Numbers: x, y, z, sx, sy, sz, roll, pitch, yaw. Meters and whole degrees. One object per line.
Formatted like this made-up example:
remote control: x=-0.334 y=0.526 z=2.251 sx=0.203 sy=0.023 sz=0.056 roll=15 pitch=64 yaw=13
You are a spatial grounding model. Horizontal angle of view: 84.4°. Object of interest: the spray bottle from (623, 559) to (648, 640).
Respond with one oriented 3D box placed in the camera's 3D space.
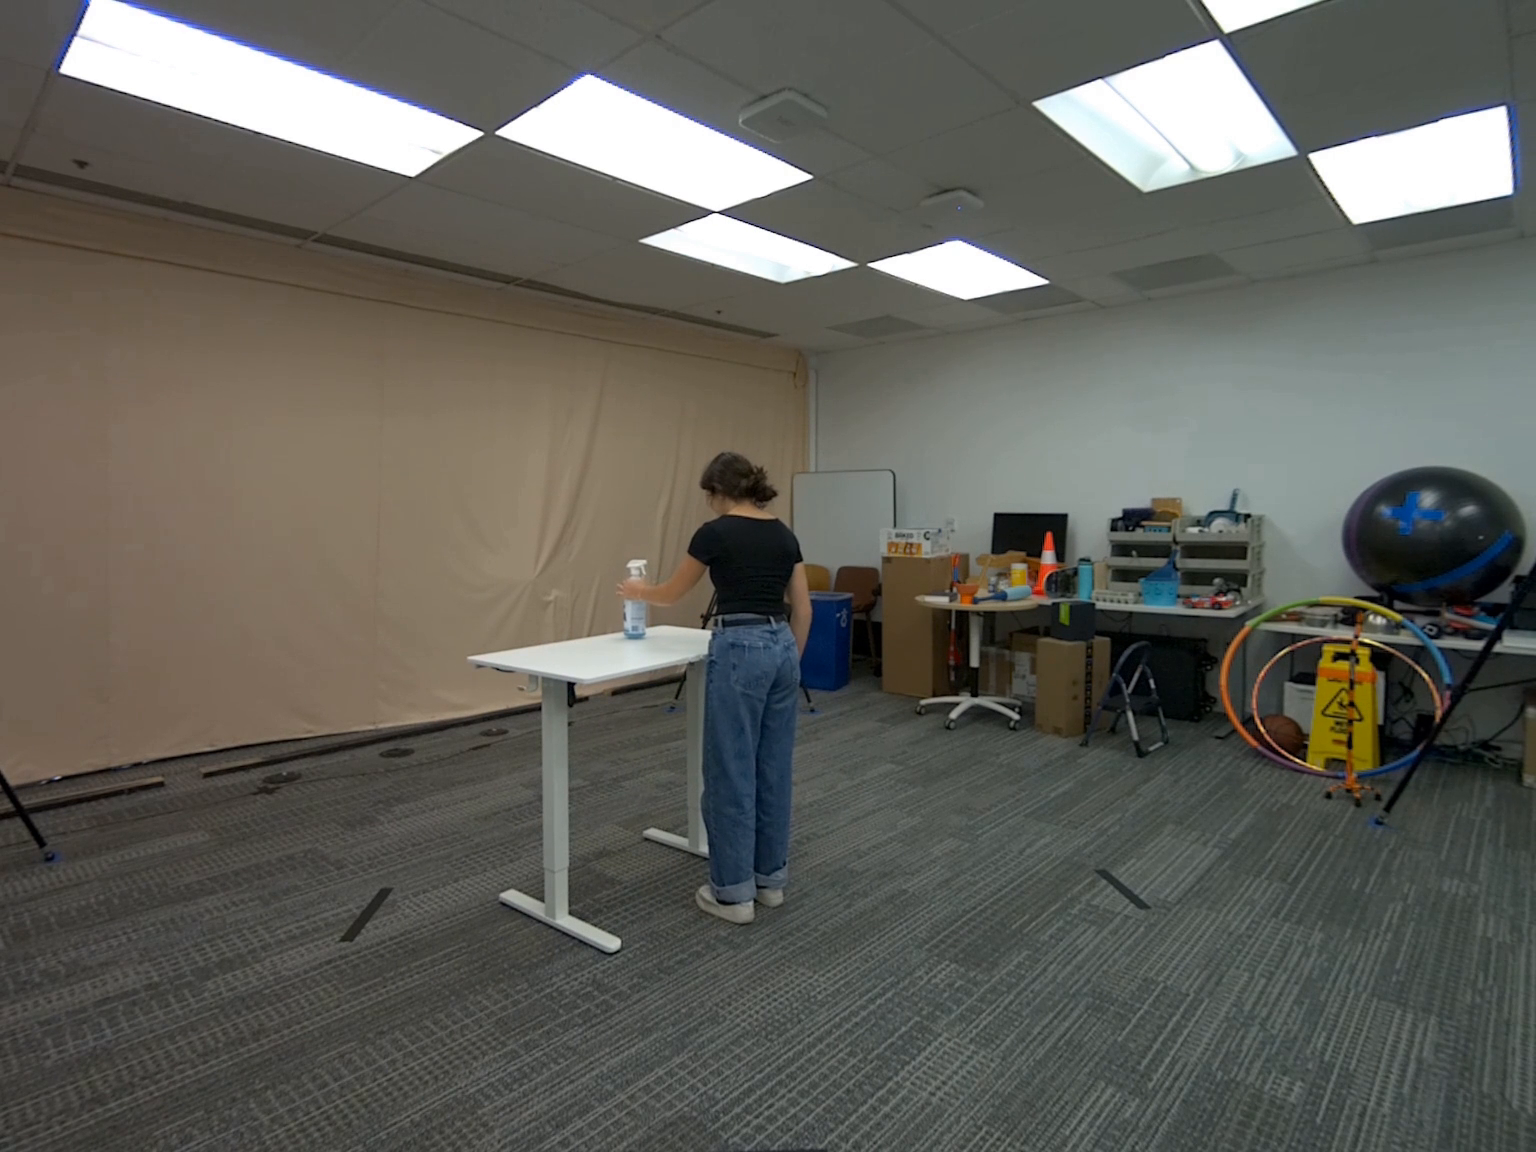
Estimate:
spray bottle: x=-0.517 y=0.086 z=3.268 sx=0.084 sy=0.296 sz=0.093 roll=-2 pitch=7 yaw=-36
